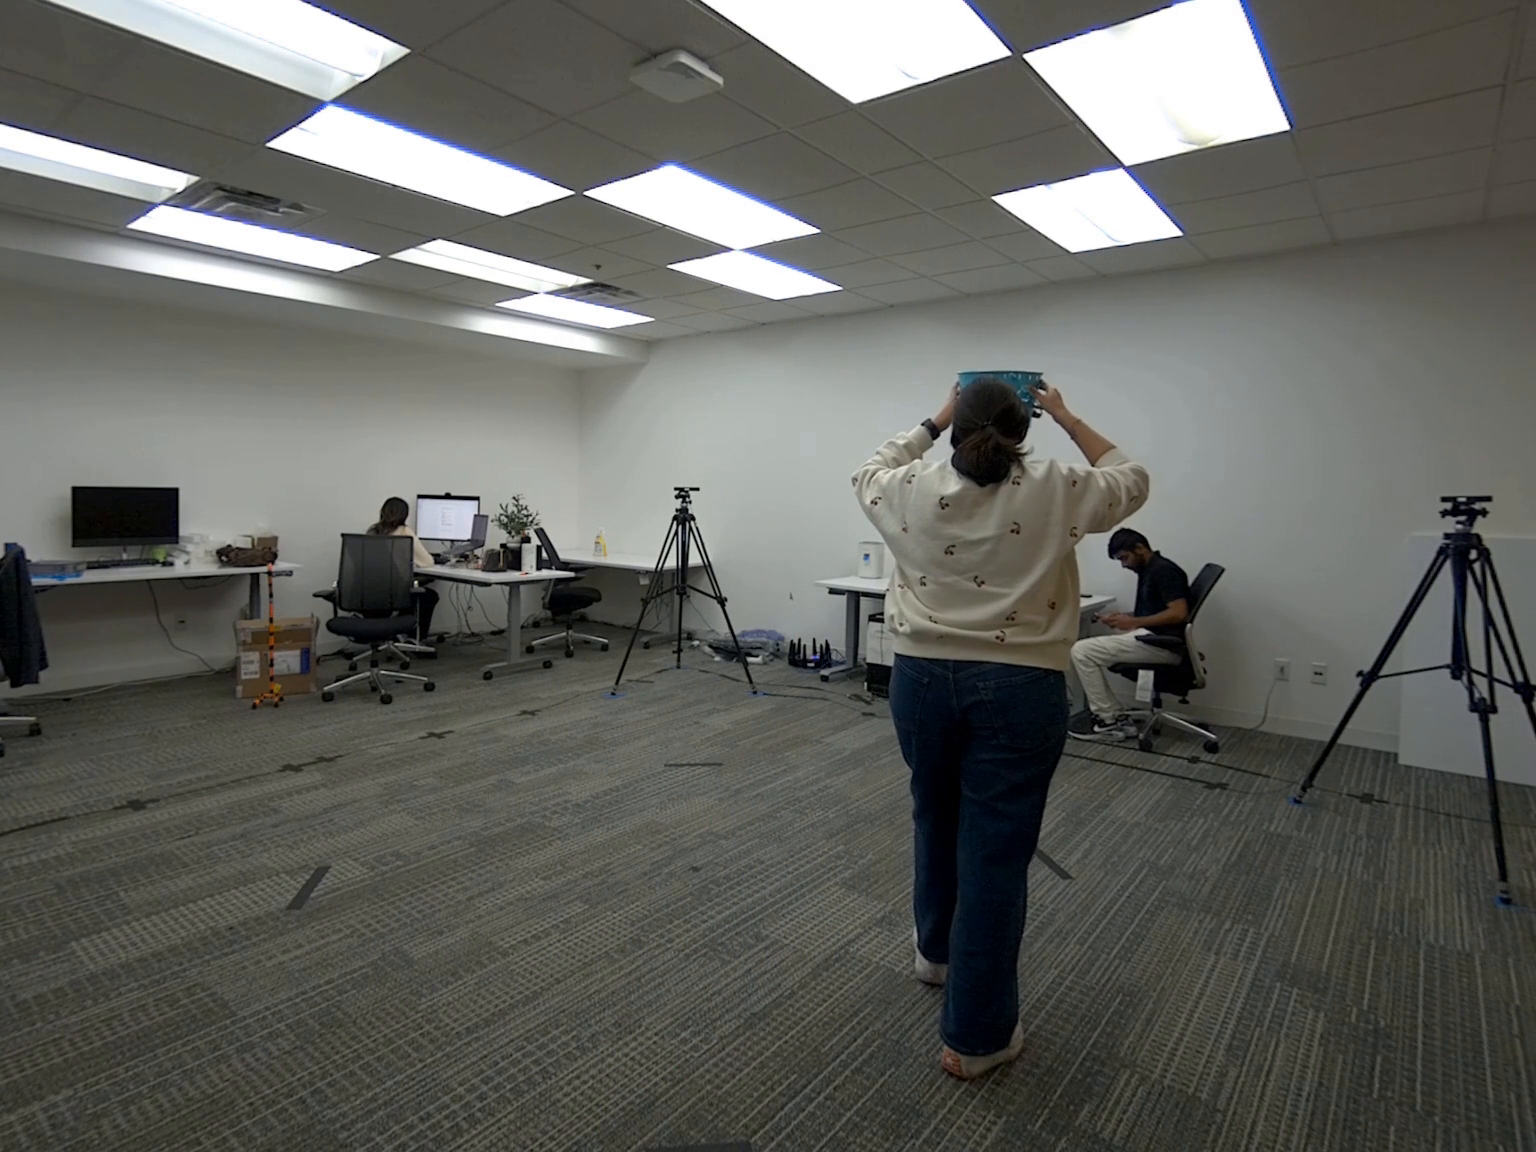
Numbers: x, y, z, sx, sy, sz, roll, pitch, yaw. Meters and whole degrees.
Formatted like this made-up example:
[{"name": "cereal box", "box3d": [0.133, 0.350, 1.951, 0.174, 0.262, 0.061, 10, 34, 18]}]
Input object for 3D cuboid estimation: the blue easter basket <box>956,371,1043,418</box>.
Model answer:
[{"name": "blue easter basket", "box3d": [0.658, -0.505, 2.401, 0.243, 0.154, 0.246, 1, 10, -2]}]
